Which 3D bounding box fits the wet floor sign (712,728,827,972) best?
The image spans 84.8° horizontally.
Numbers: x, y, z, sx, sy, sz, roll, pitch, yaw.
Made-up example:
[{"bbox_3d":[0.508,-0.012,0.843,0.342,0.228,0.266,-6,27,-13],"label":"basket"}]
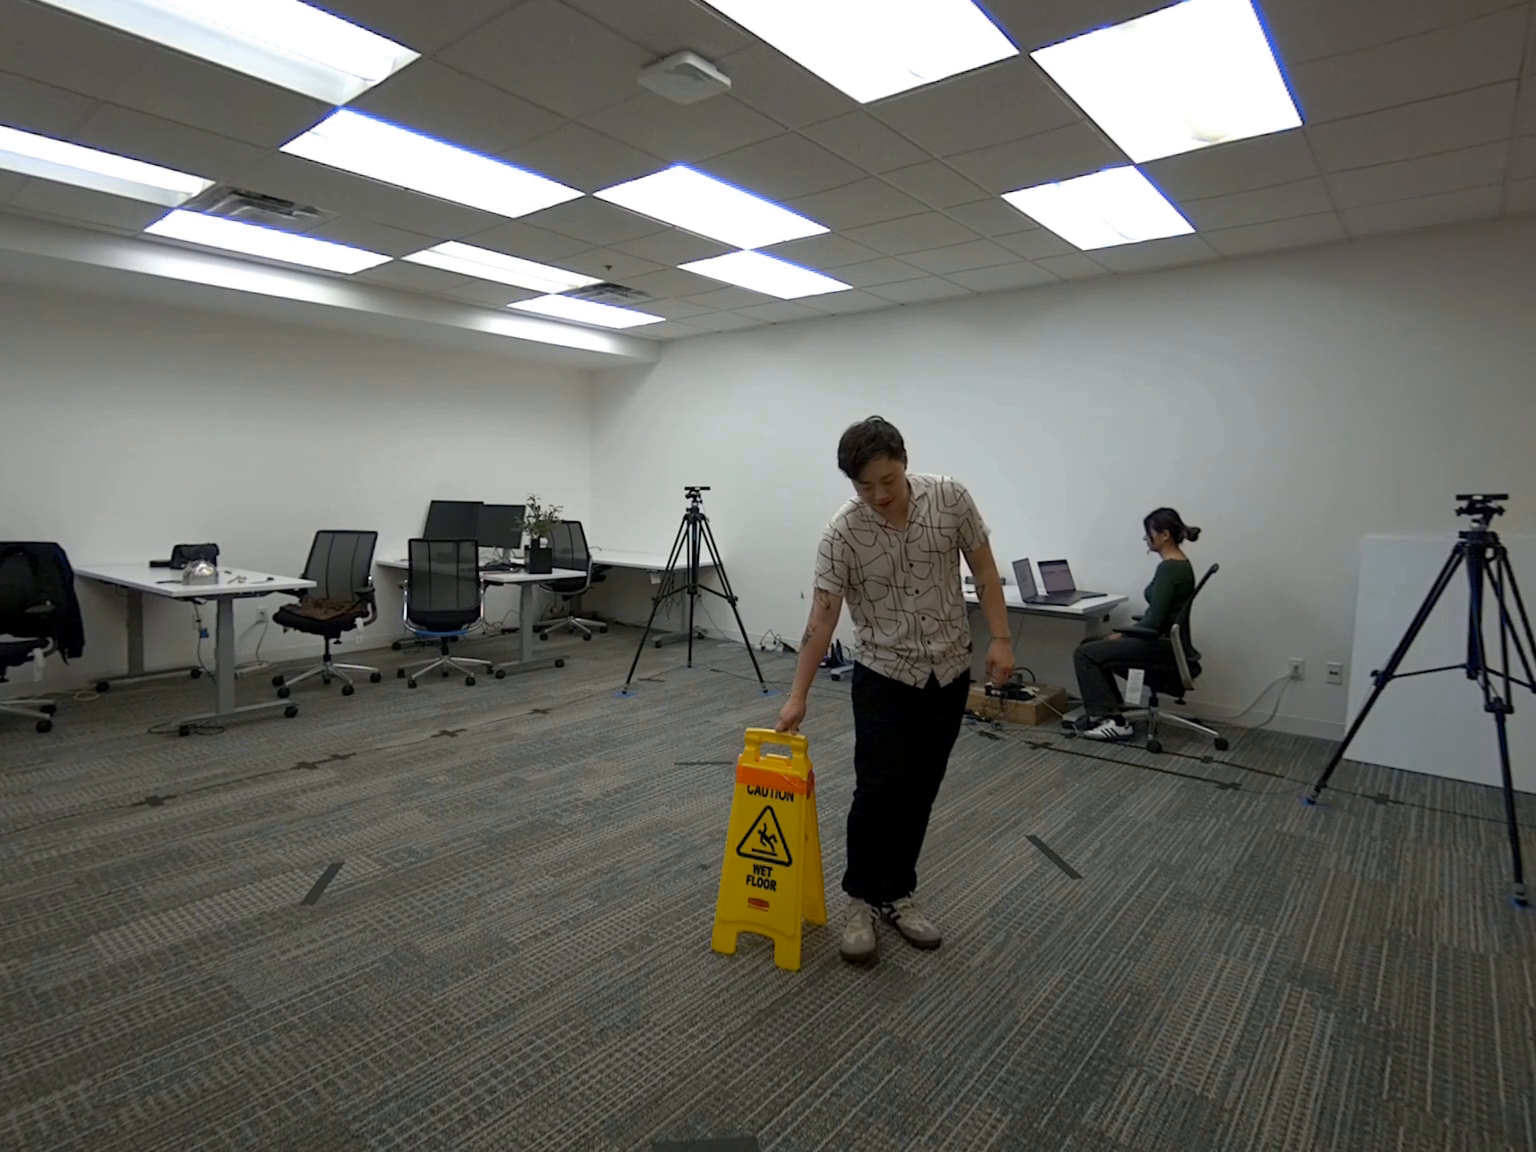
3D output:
[{"bbox_3d":[0.009,0.795,2.627,0.289,0.645,0.283,3,2,22],"label":"wet floor sign"}]
